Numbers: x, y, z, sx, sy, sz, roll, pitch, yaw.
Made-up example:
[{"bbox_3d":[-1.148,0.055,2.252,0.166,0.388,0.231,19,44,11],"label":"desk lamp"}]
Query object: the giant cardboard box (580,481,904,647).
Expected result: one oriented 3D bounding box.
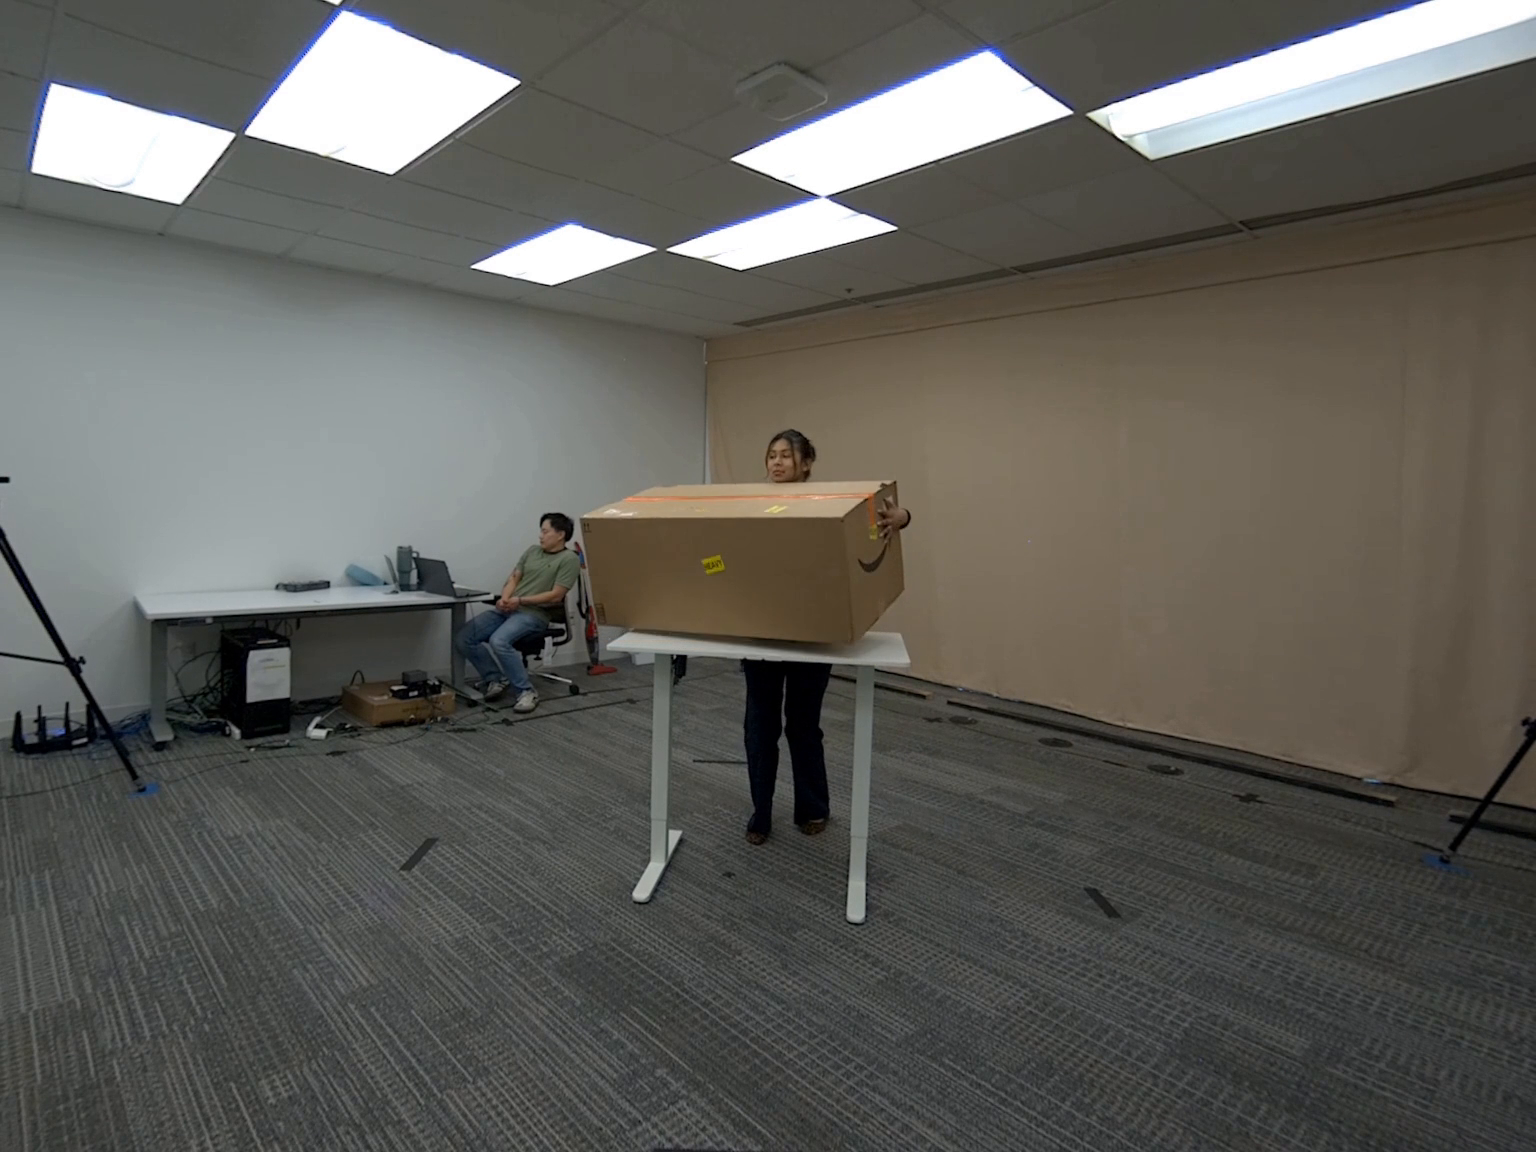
[{"bbox_3d":[-0.092,-0.082,3.106,1.047,0.421,0.573,2,17,28],"label":"giant cardboard box"}]
